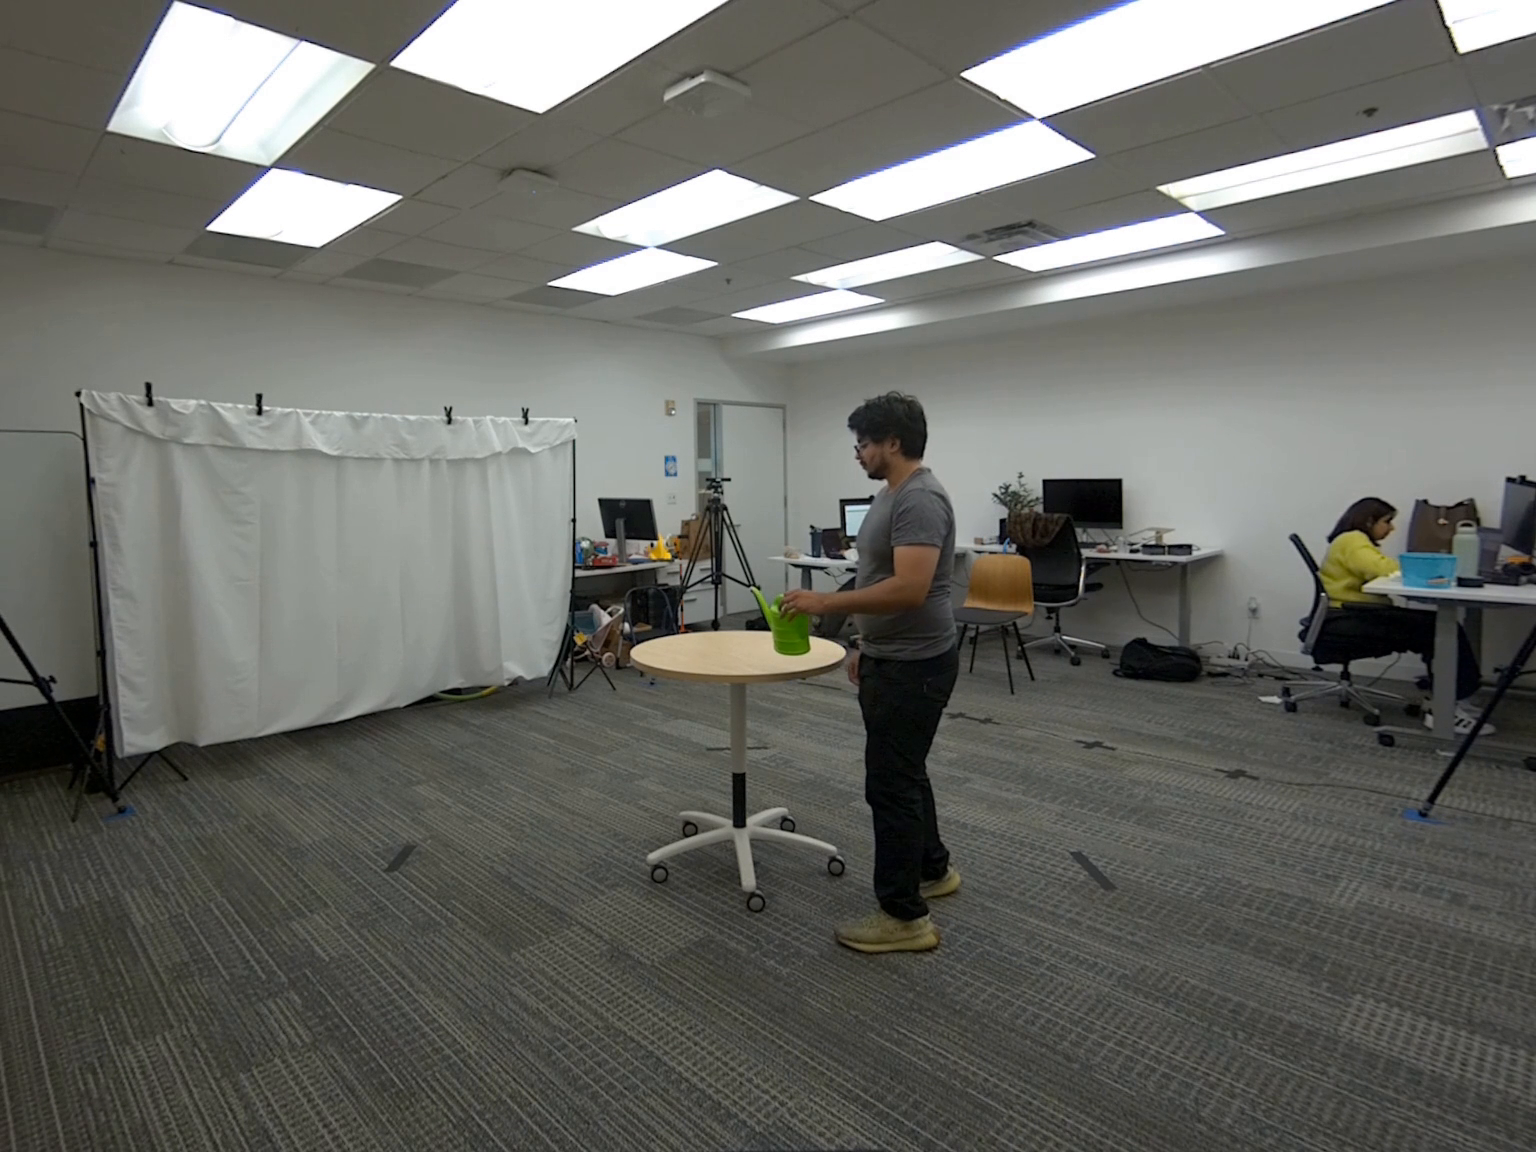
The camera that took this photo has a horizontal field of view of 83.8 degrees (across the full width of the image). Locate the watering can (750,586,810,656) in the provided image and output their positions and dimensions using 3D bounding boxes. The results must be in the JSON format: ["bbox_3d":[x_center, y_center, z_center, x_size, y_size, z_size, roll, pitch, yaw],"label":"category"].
[{"bbox_3d":[0.054,0.134,2.604,0.096,0.174,0.287,-13,17,-27],"label":"watering can"}]
